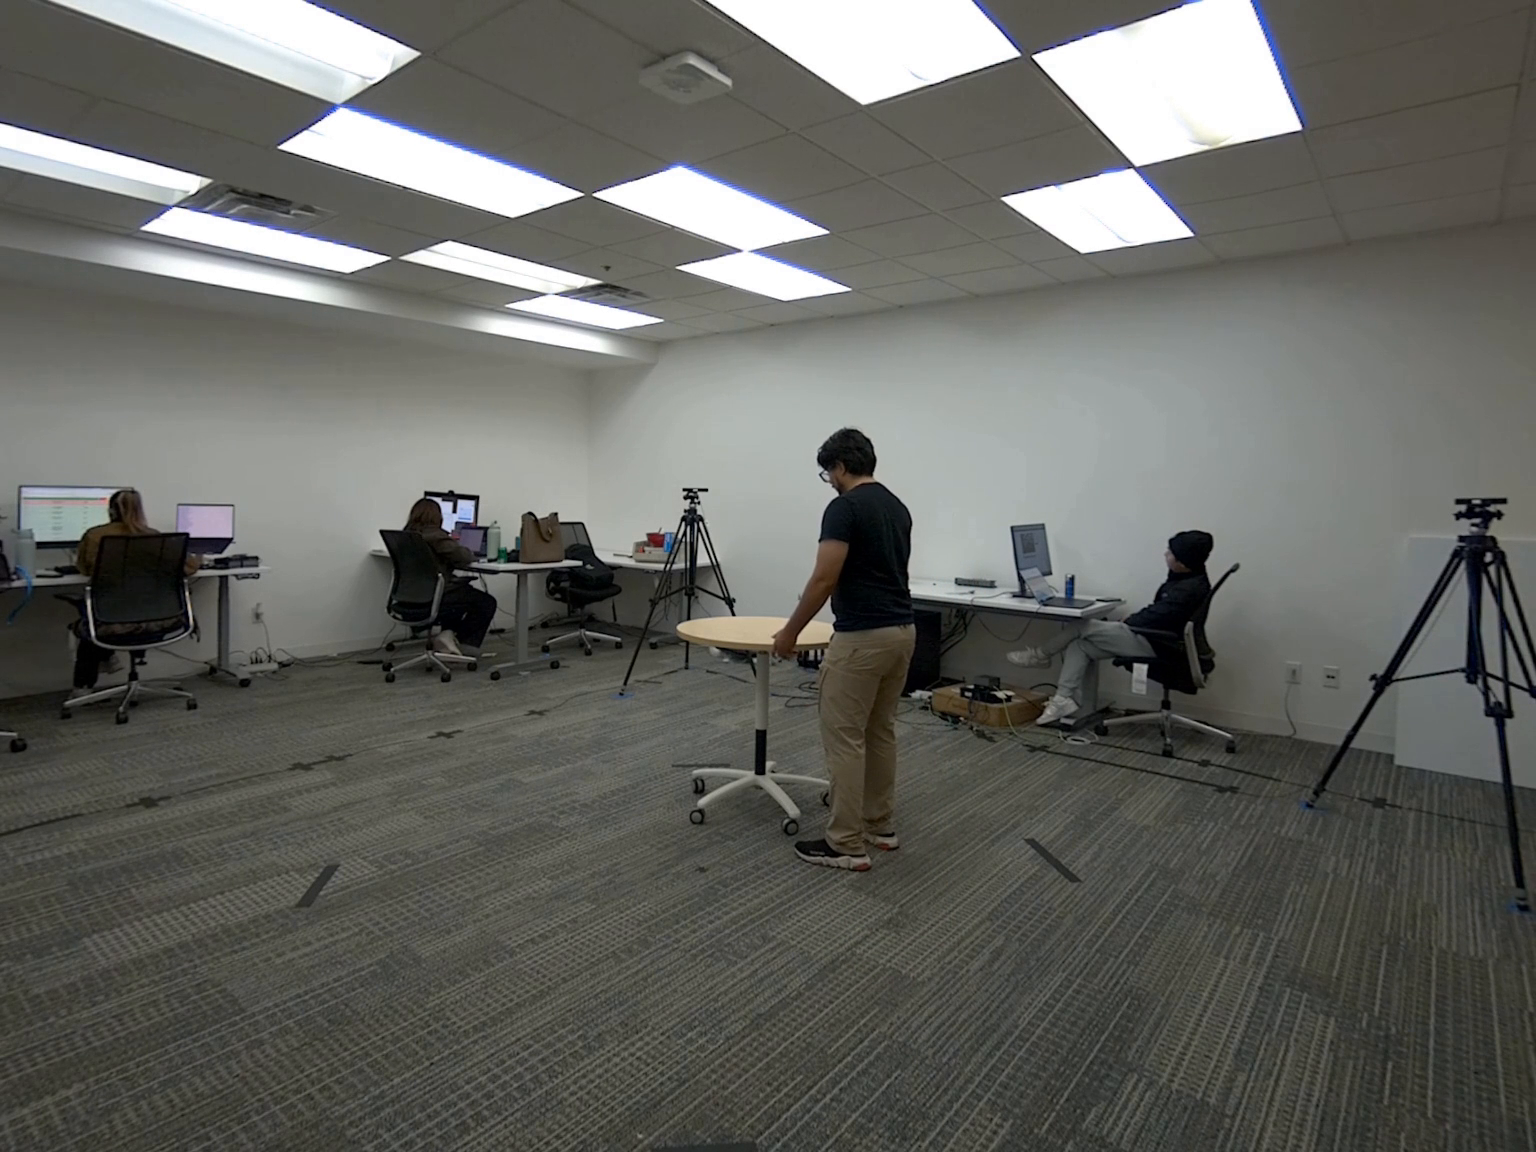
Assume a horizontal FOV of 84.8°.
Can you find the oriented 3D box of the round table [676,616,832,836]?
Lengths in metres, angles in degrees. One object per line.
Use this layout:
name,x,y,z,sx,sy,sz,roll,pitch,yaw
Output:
round table,-0.037,0.615,3.756,0.784,0.784,0.789,1,4,-2
